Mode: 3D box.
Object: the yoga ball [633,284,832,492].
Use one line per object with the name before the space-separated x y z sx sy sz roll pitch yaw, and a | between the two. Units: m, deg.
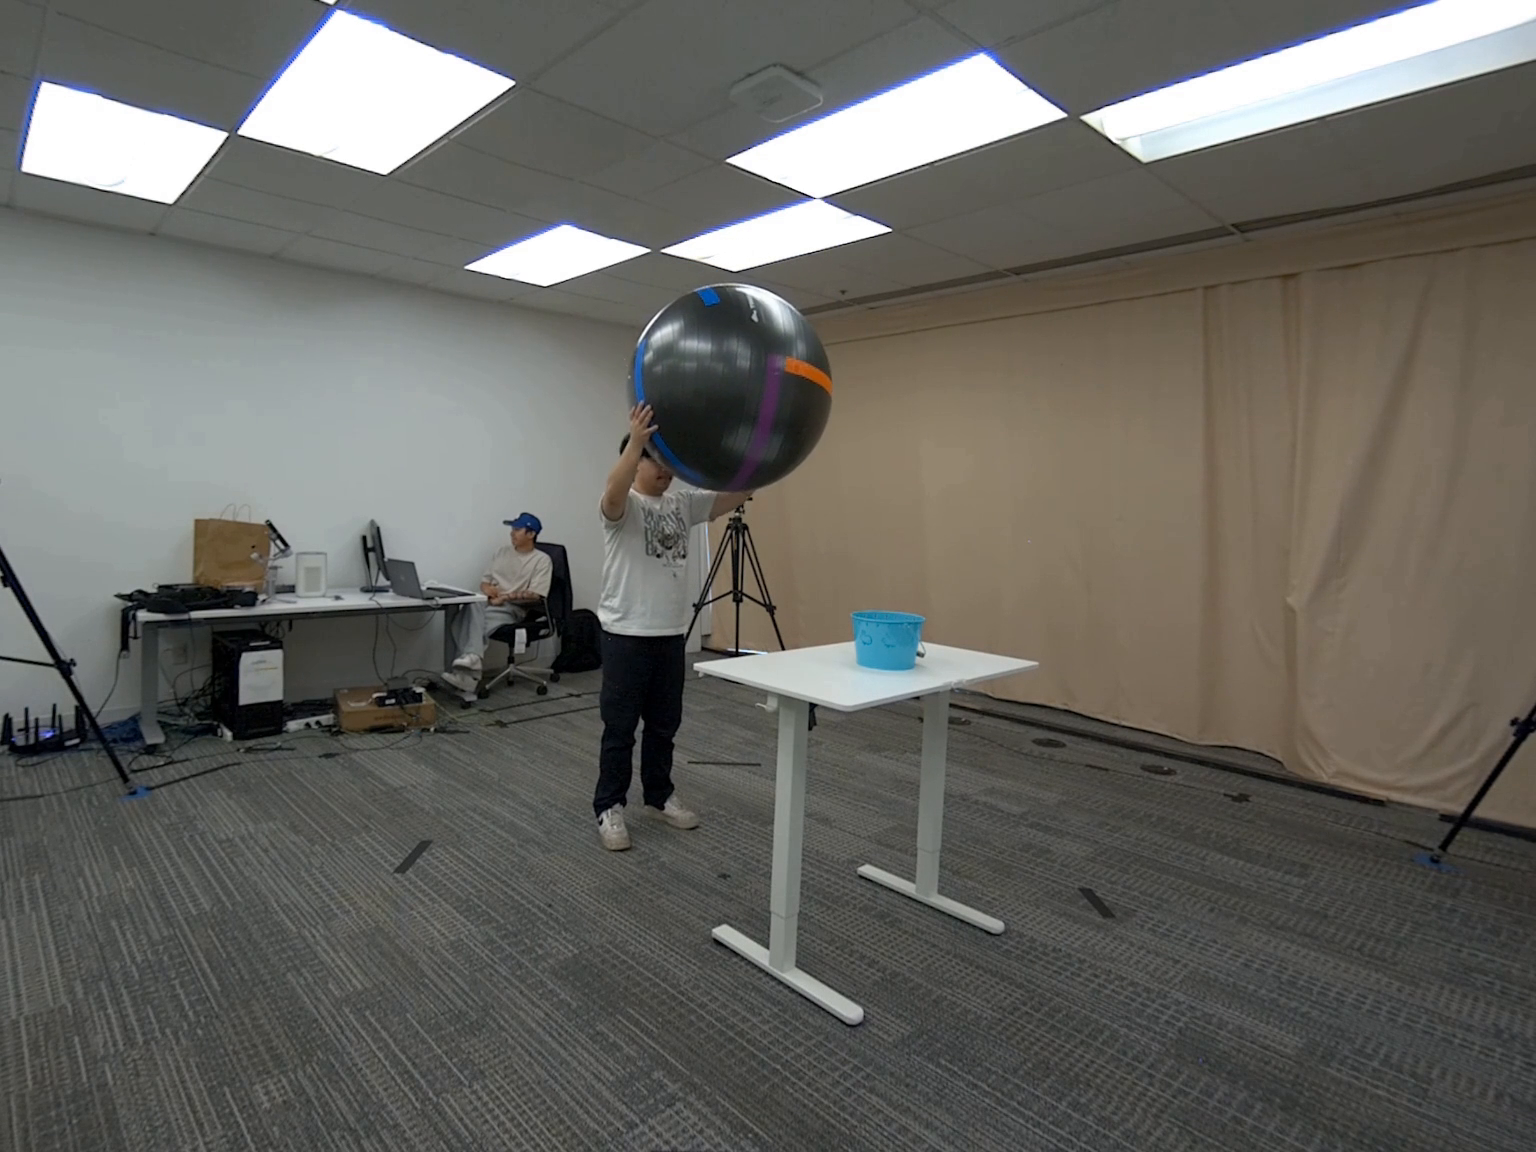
yoga ball | -0.144 -0.676 3.115 0.757 0.756 0.761 1 4 -1
